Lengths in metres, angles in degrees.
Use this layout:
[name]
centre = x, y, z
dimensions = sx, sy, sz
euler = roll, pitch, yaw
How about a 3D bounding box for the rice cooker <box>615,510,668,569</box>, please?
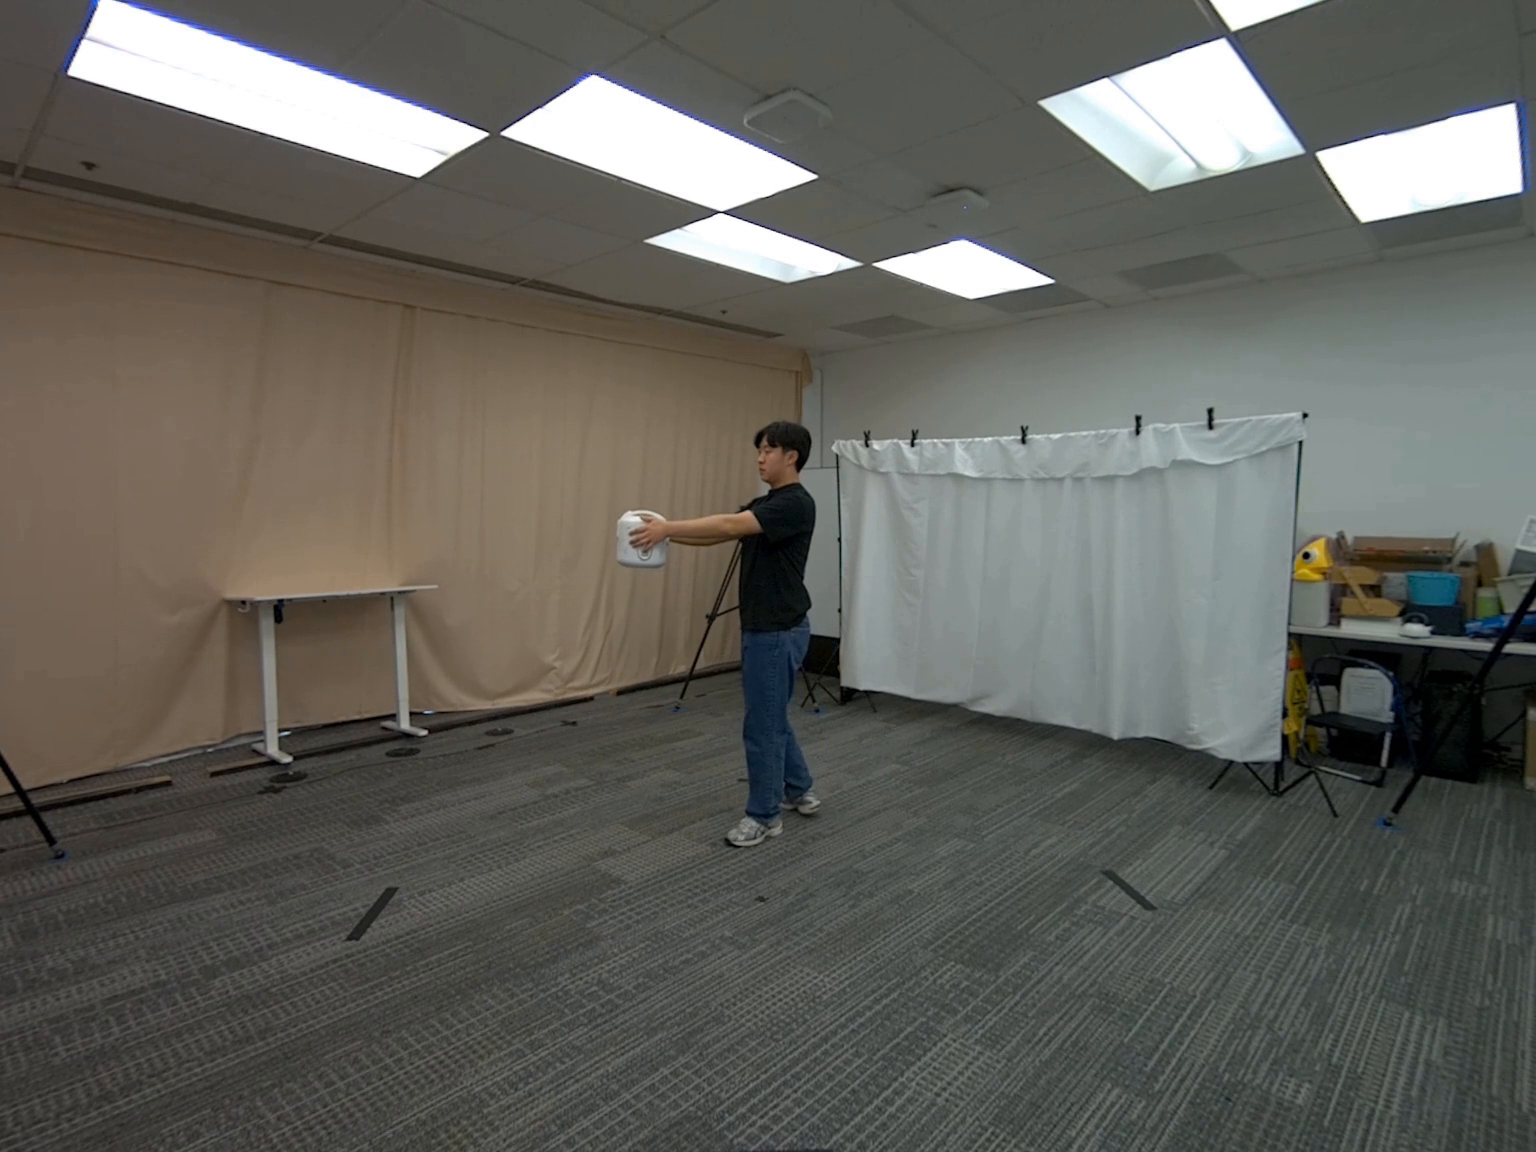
[rice cooker]
centre = -0.510, -0.151, 3.465
dimensions = 0.217, 0.232, 0.221
euler = 3, 5, -13
